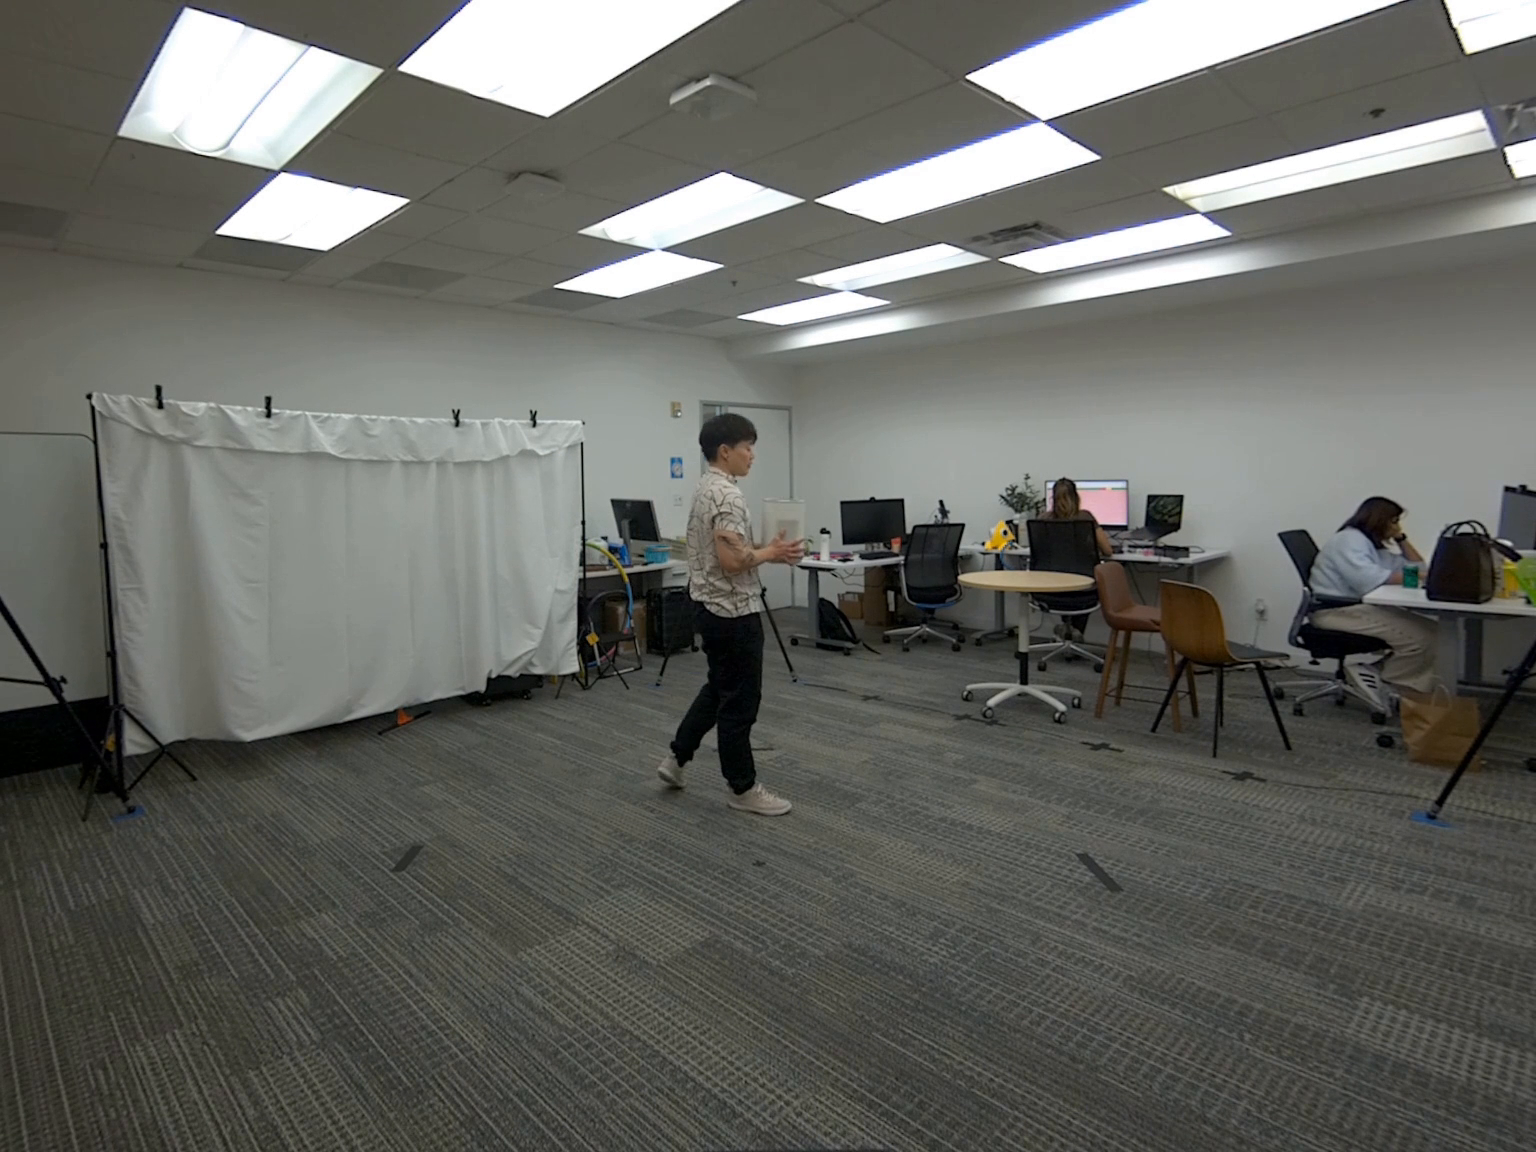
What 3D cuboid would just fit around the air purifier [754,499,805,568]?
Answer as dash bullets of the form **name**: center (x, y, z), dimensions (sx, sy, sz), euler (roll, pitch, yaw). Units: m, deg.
- **air purifier**: center (0.042, -0.185, 3.628), dimensions (0.169, 0.264, 0.174), euler (1, 6, -10)
